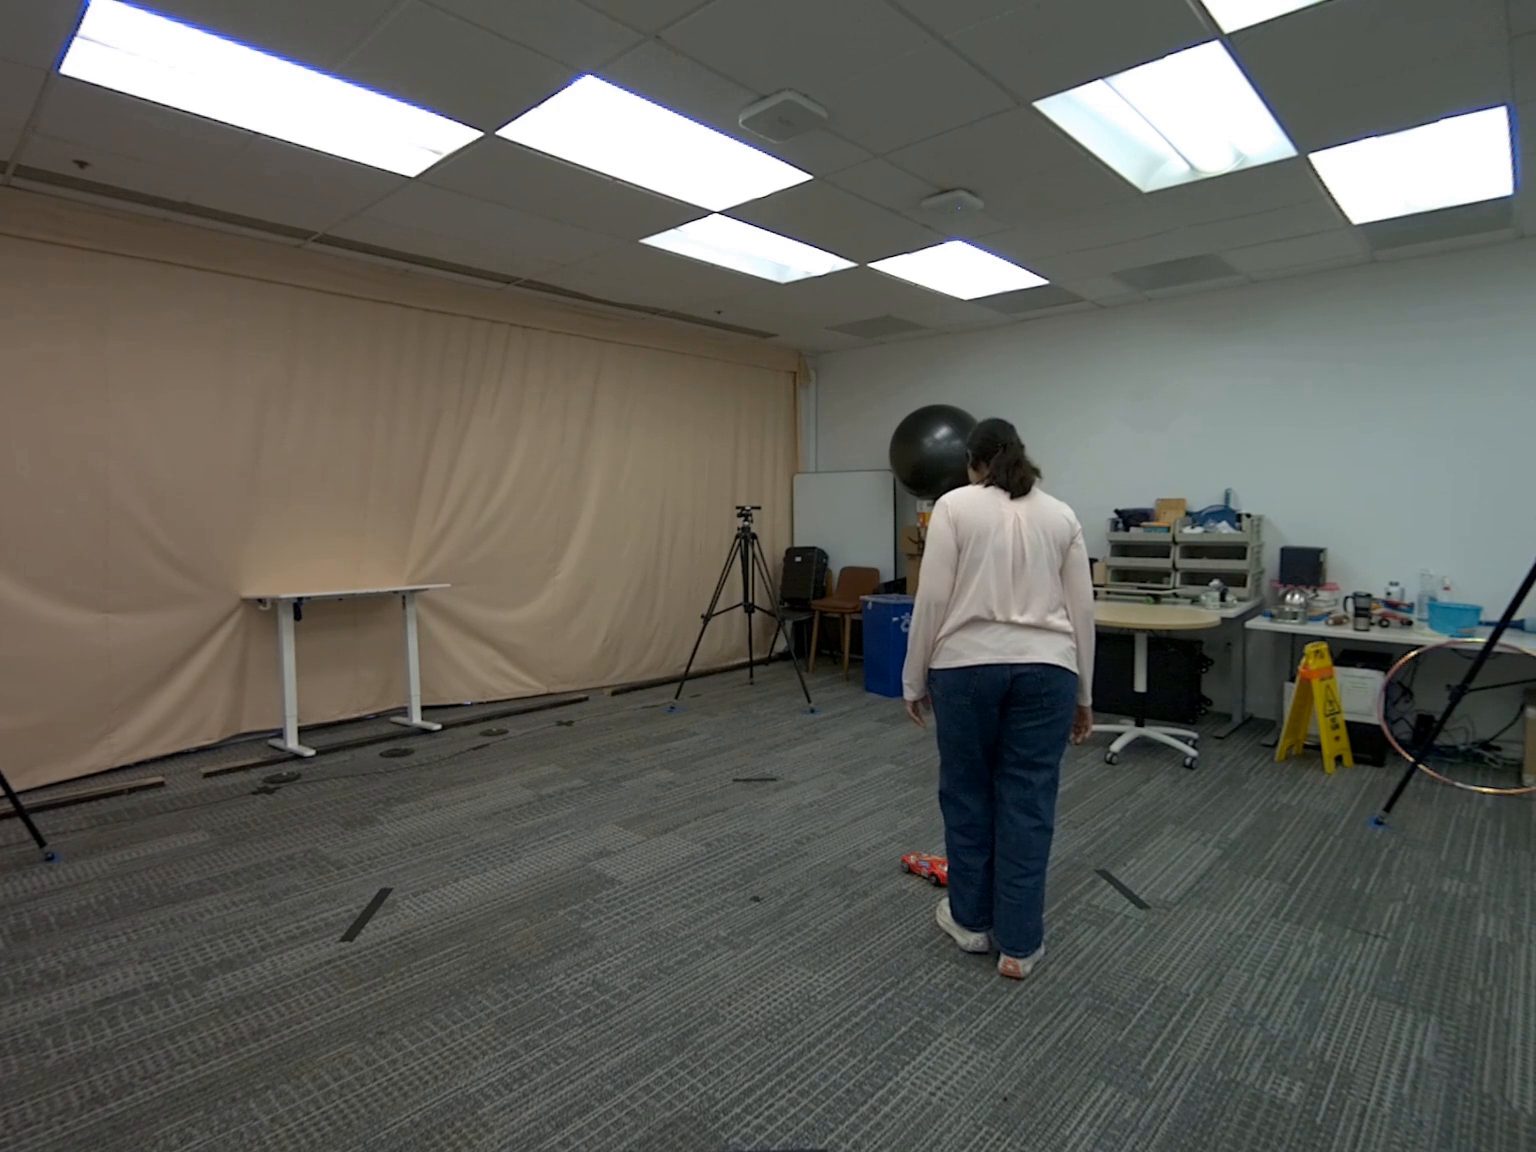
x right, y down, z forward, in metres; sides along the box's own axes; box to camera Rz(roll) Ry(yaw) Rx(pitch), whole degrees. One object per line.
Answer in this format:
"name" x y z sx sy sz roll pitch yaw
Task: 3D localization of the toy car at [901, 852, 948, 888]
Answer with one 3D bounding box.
"toy car" 0.627 1.100 3.149 0.126 0.083 0.261 -2 -6 -35
